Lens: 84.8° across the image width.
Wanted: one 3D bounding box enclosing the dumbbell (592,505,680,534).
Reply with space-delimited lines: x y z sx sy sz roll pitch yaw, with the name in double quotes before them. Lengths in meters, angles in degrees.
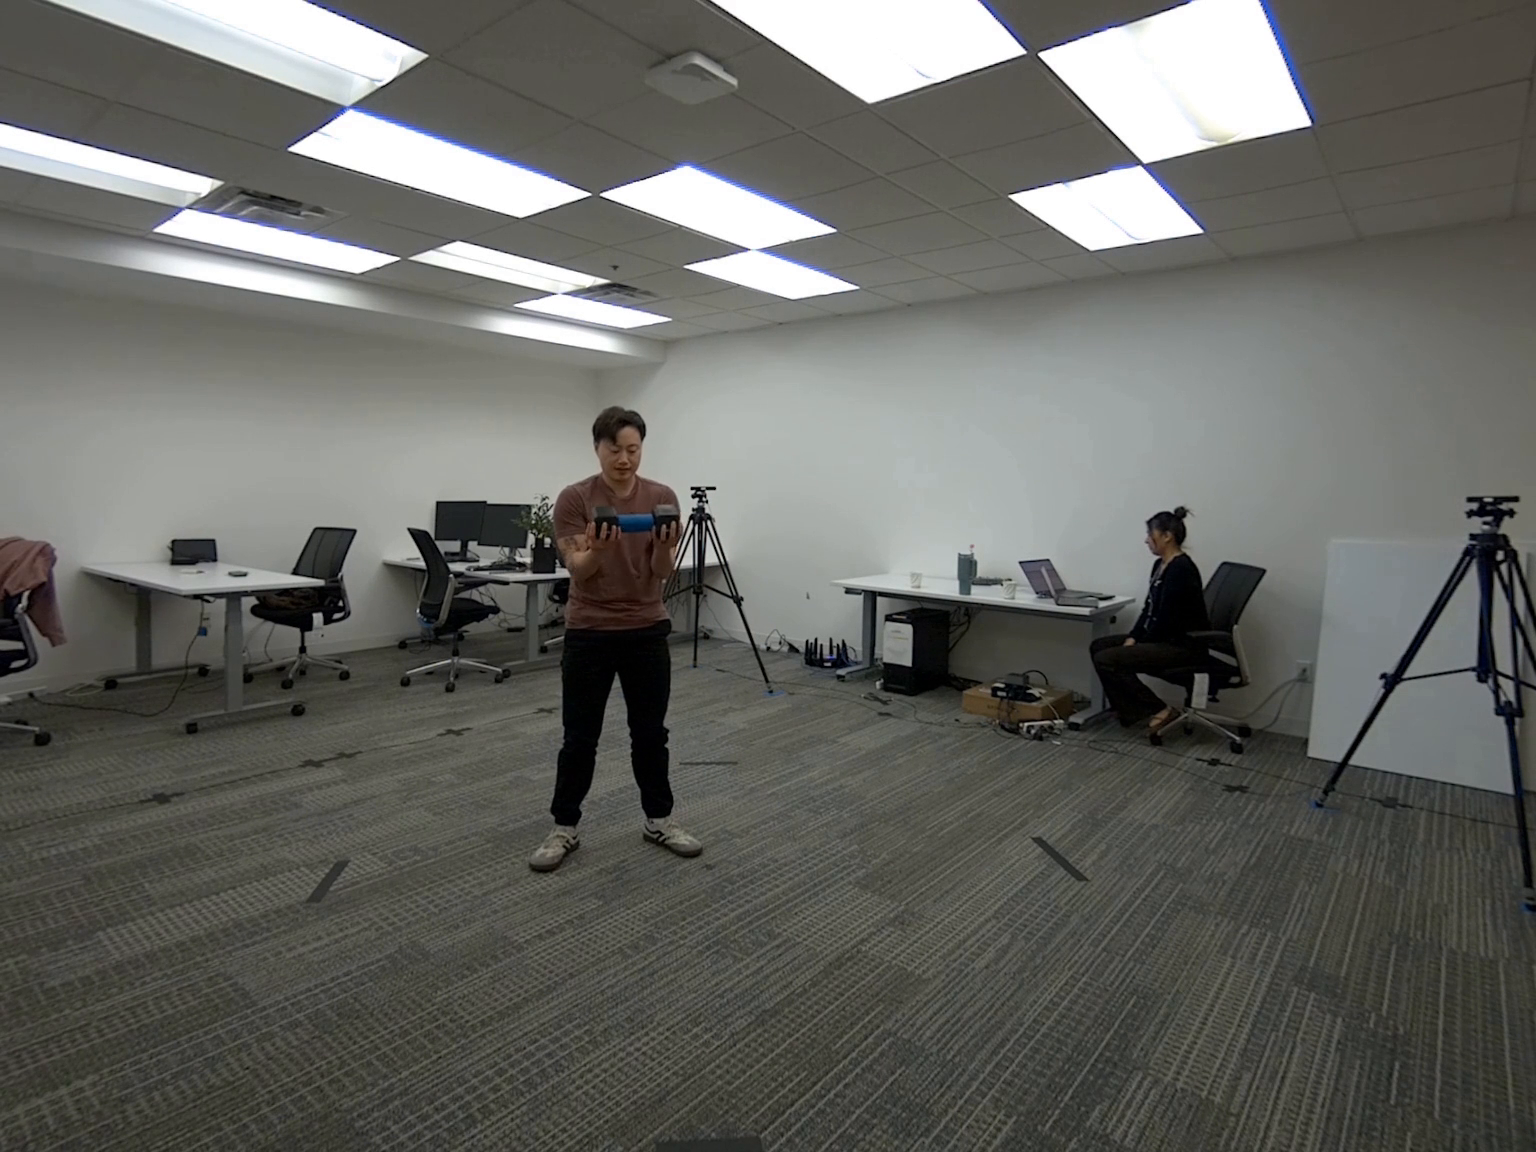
"dumbbell" -0.463 -0.174 2.891 0.288 0.111 0.122 -2 -22 -19
